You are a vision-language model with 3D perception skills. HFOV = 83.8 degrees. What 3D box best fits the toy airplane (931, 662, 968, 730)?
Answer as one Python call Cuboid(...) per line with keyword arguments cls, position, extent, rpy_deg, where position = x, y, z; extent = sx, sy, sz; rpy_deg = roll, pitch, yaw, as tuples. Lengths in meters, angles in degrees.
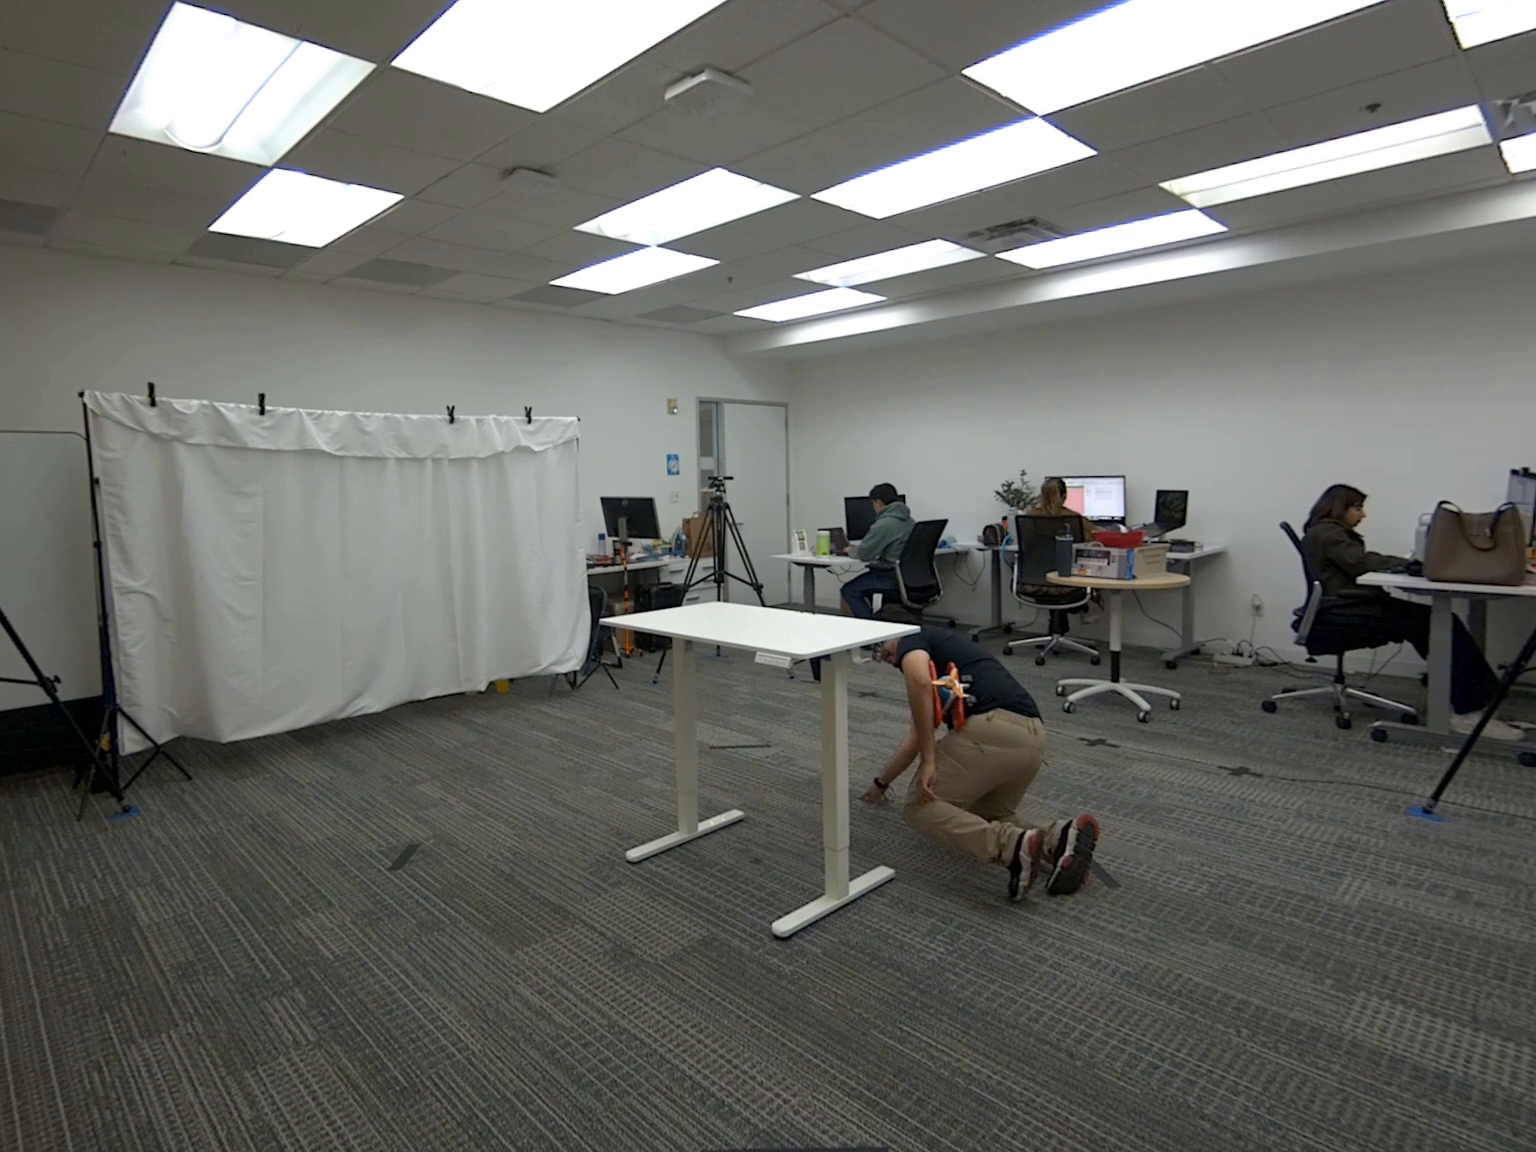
Cuboid(cls="toy airplane", position=(0.630, 0.467, 3.081), extent=(0.154, 0.256, 0.257), rpy_deg=(14, 21, -12))
